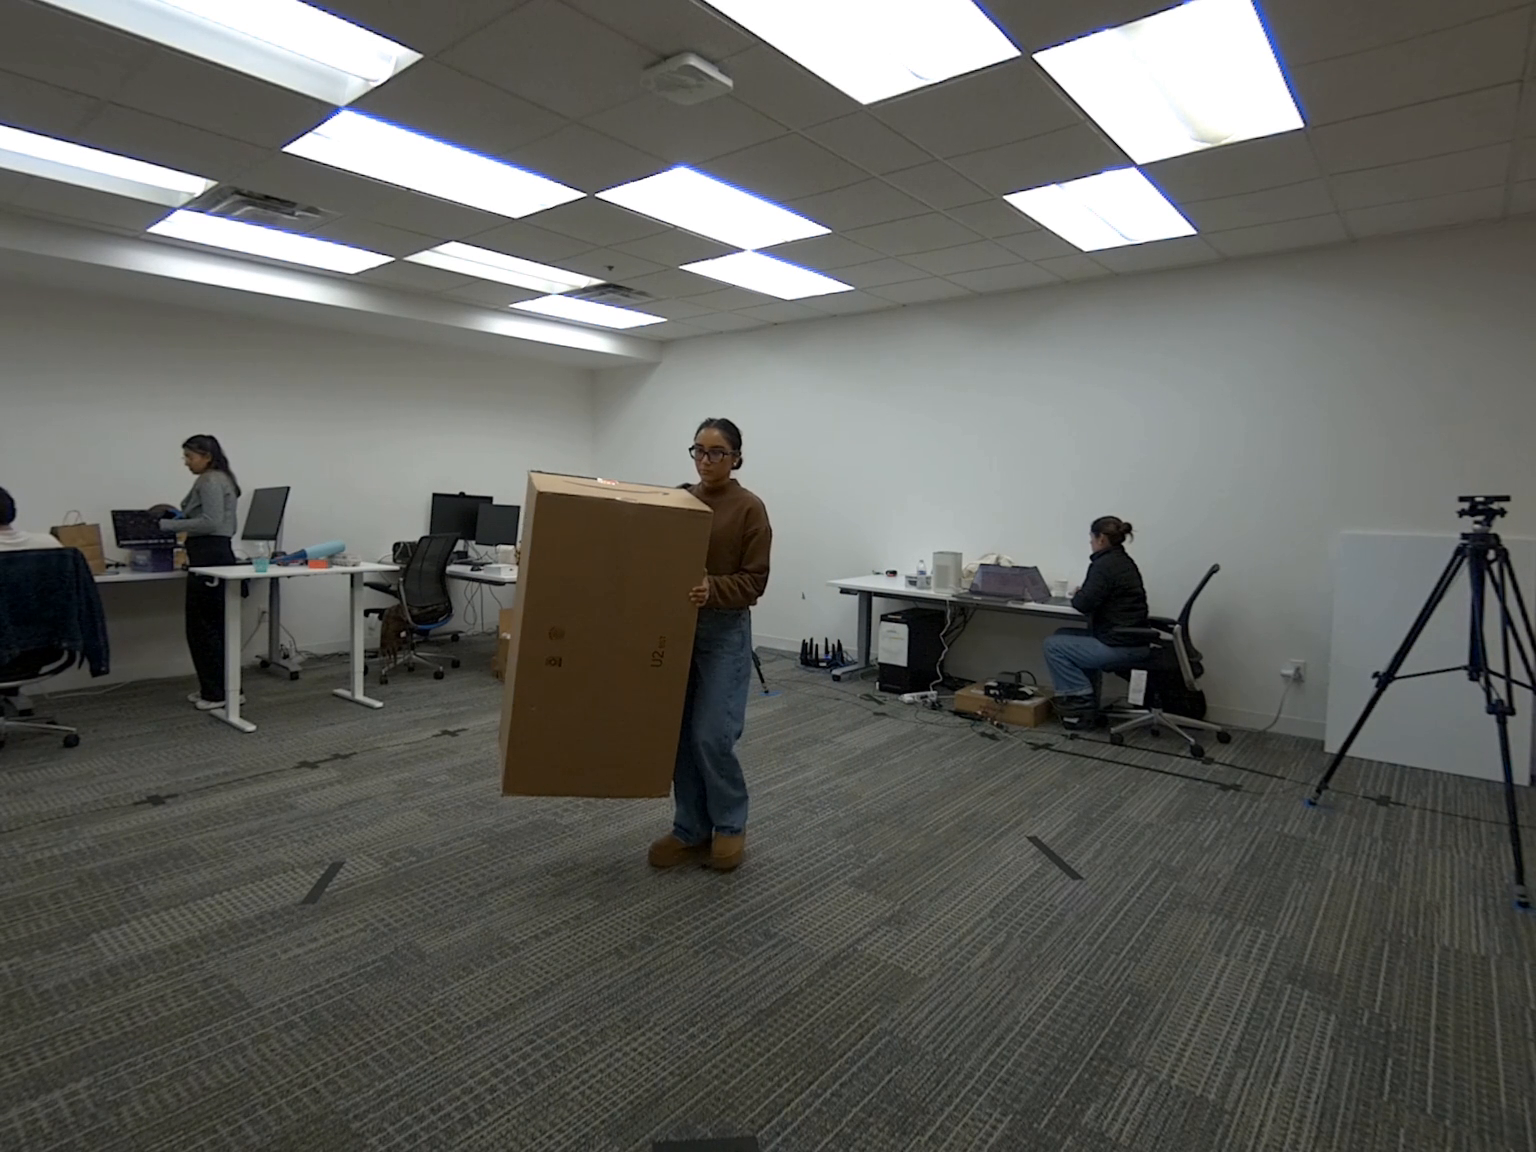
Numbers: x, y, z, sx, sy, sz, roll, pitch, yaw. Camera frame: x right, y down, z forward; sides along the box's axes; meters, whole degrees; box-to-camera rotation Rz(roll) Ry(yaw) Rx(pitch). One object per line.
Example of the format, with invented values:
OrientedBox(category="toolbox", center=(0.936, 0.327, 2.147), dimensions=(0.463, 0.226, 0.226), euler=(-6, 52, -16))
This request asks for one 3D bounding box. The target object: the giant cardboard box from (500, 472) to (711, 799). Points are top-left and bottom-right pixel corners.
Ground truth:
OrientedBox(category="giant cardboard box", center=(-0.599, 0.202, 2.966), dimensions=(0.566, 1.017, 0.438), euler=(6, 11, -18))
